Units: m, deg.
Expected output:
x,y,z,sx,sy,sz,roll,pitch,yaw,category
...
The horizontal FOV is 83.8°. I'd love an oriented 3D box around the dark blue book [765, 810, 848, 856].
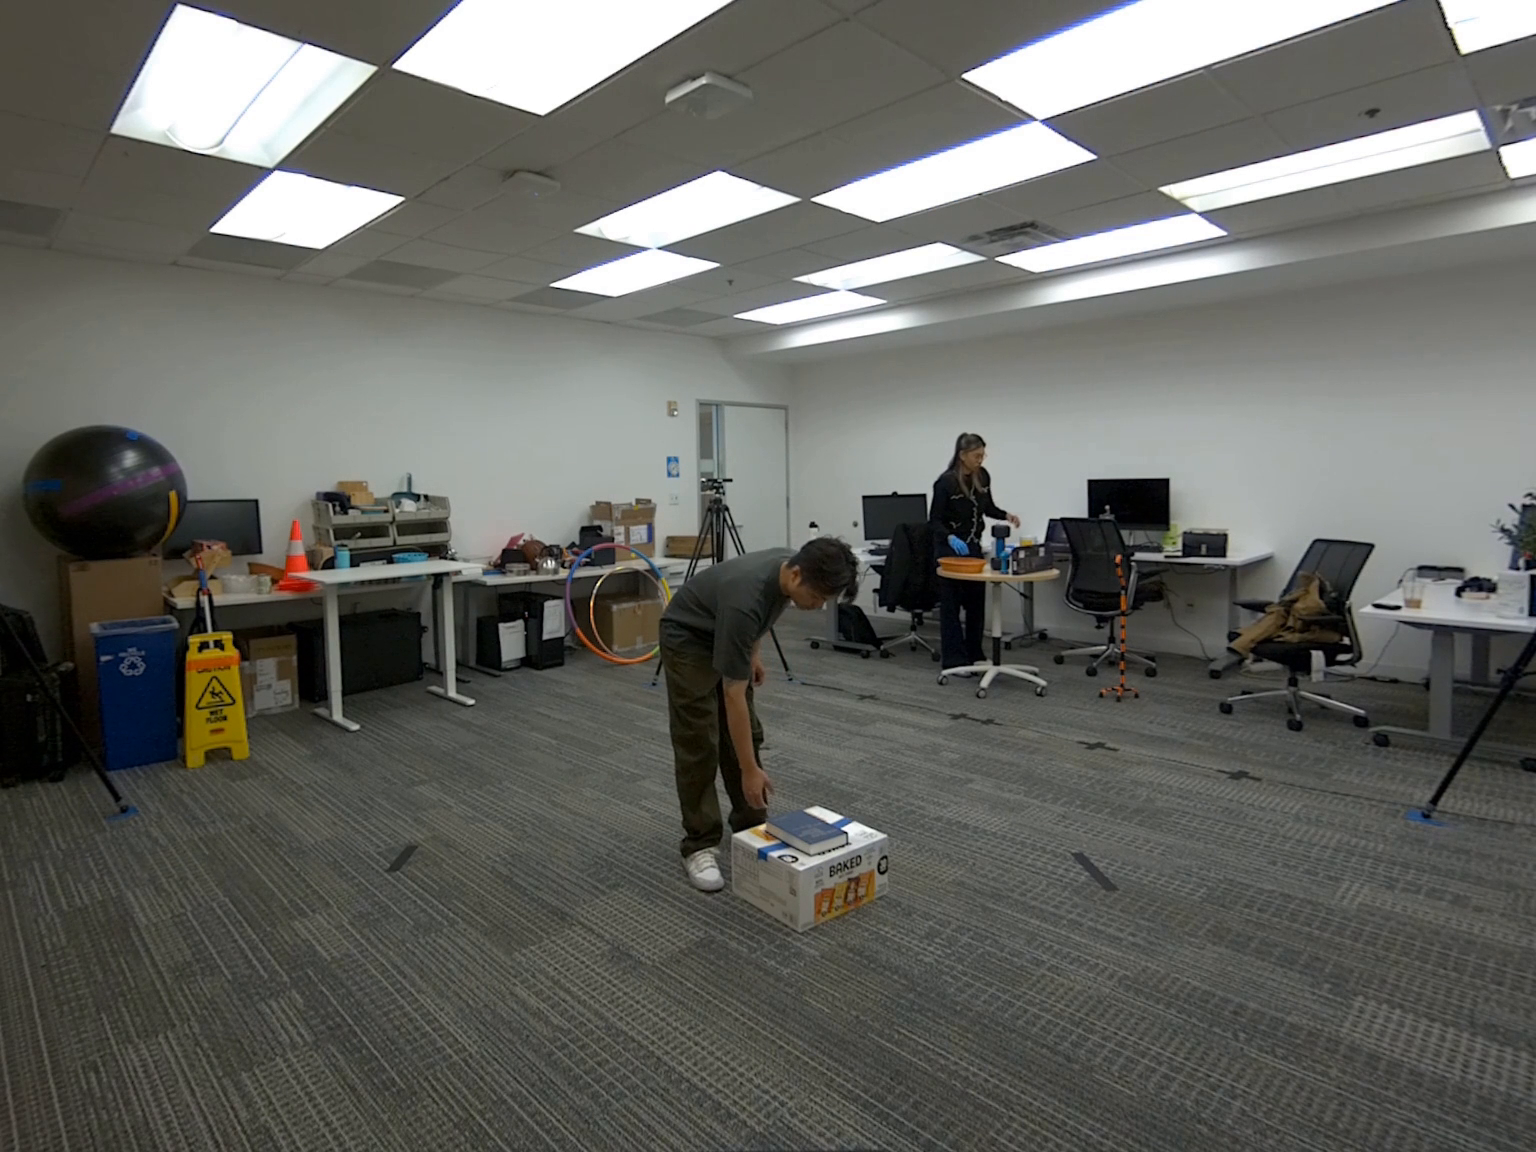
x,y,z,sx,sy,sz,roll,pitch,yaw,category
0.130,0.857,2.847,0.159,0.045,0.252,-6,8,-35,dark blue book
